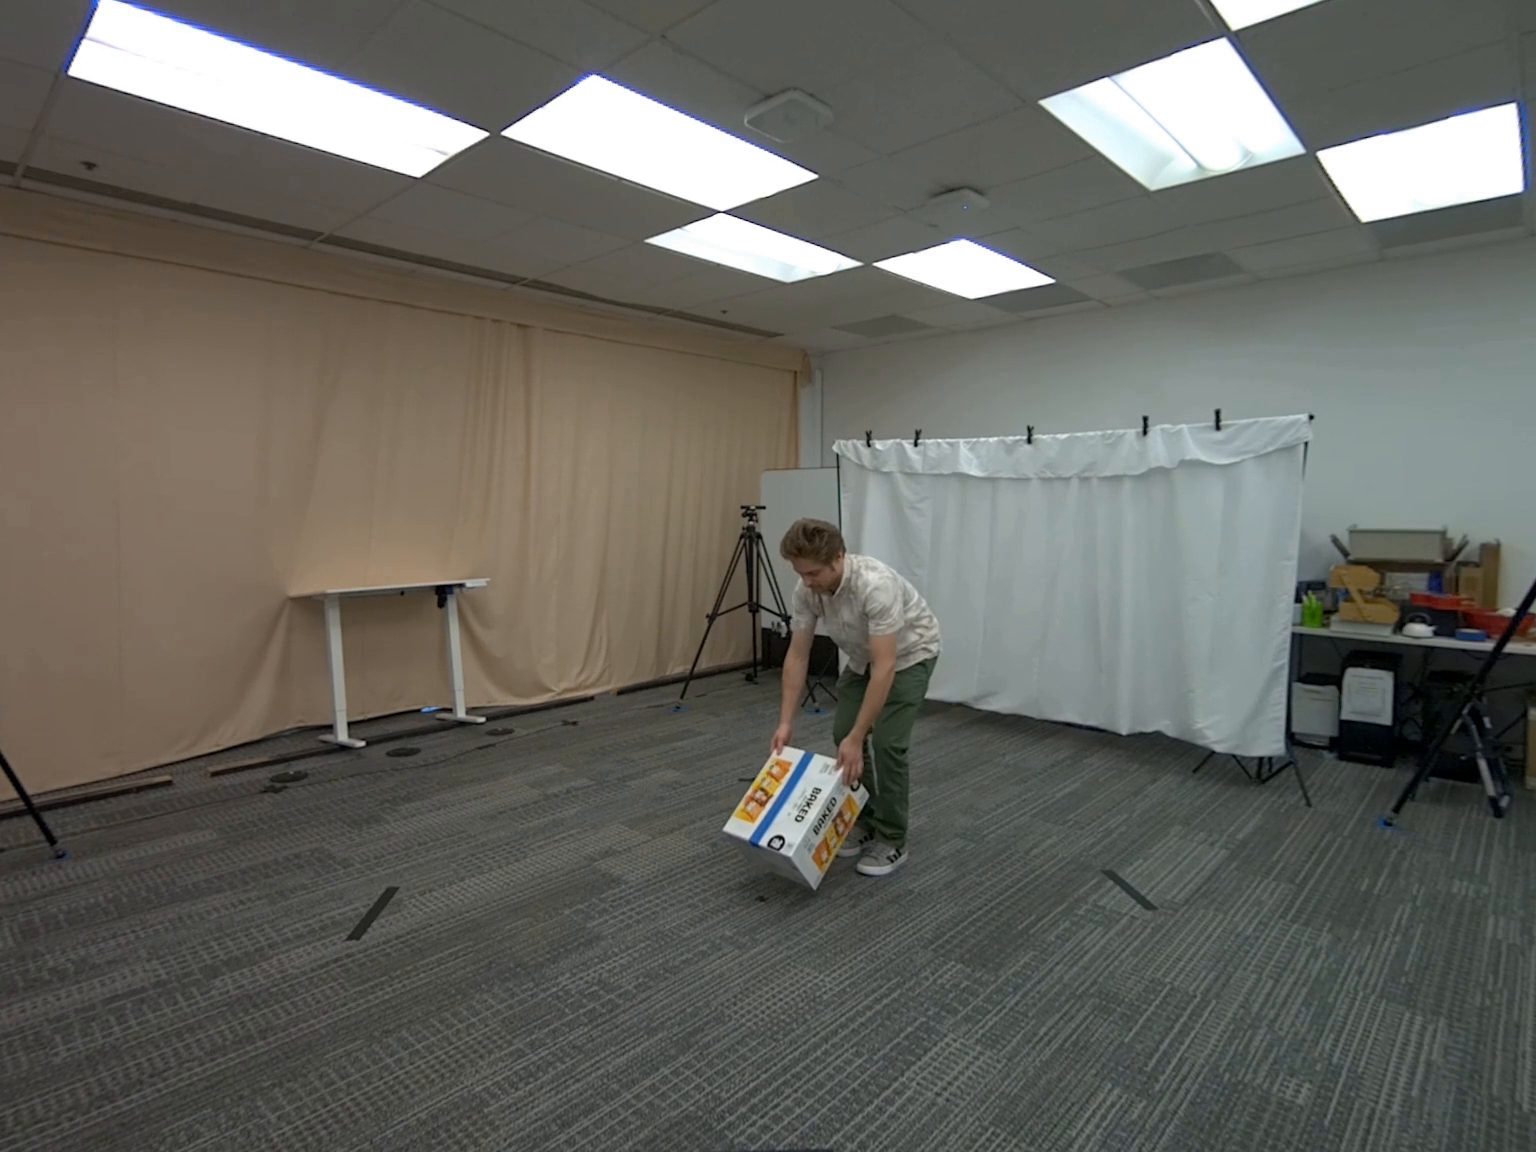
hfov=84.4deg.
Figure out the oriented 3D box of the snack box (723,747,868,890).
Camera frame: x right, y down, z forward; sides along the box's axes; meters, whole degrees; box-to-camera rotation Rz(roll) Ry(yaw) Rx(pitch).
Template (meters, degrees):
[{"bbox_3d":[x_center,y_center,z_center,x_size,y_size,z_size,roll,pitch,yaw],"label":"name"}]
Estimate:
[{"bbox_3d":[0.107,0.865,3.081,0.351,0.200,0.403,2,44,46],"label":"snack box"}]
